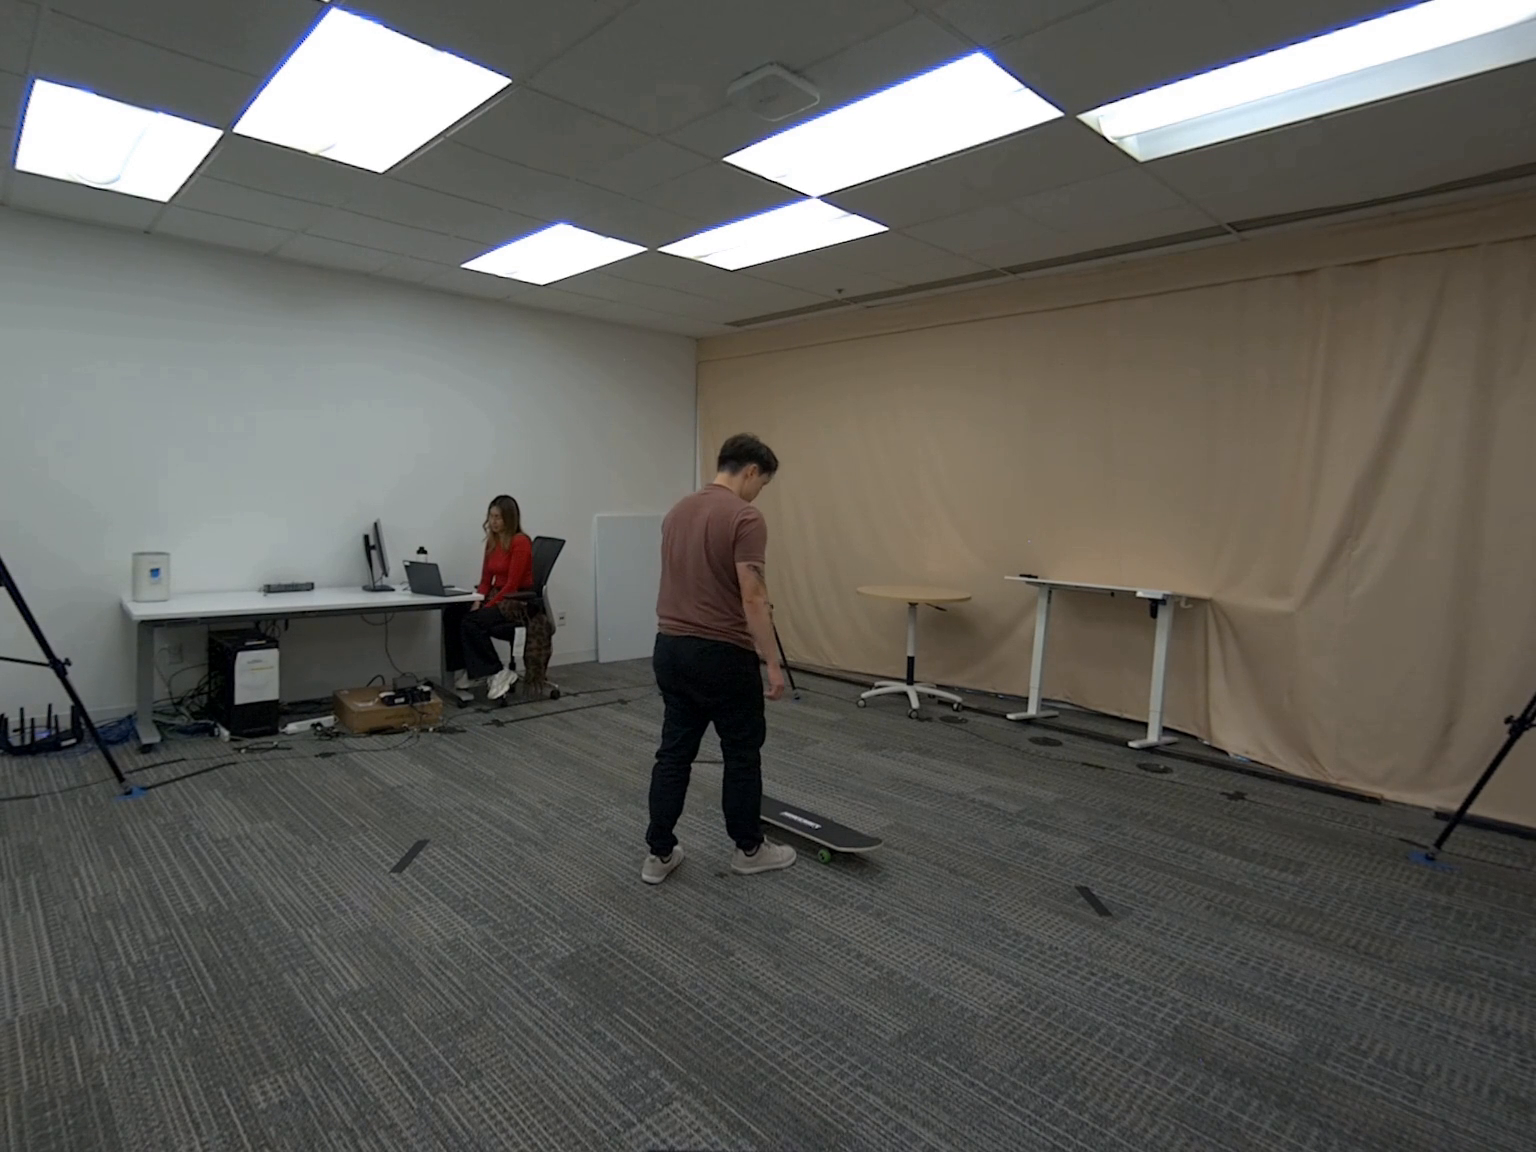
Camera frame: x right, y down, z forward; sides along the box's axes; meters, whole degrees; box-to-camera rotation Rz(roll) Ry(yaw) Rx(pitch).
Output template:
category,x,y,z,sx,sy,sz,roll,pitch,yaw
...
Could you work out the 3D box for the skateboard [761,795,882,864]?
category,x,y,z,sx,sy,sz,roll,pitch,yaw
skateboard,0.126,1.028,3.437,0.189,0.110,0.806,-1,5,-43
